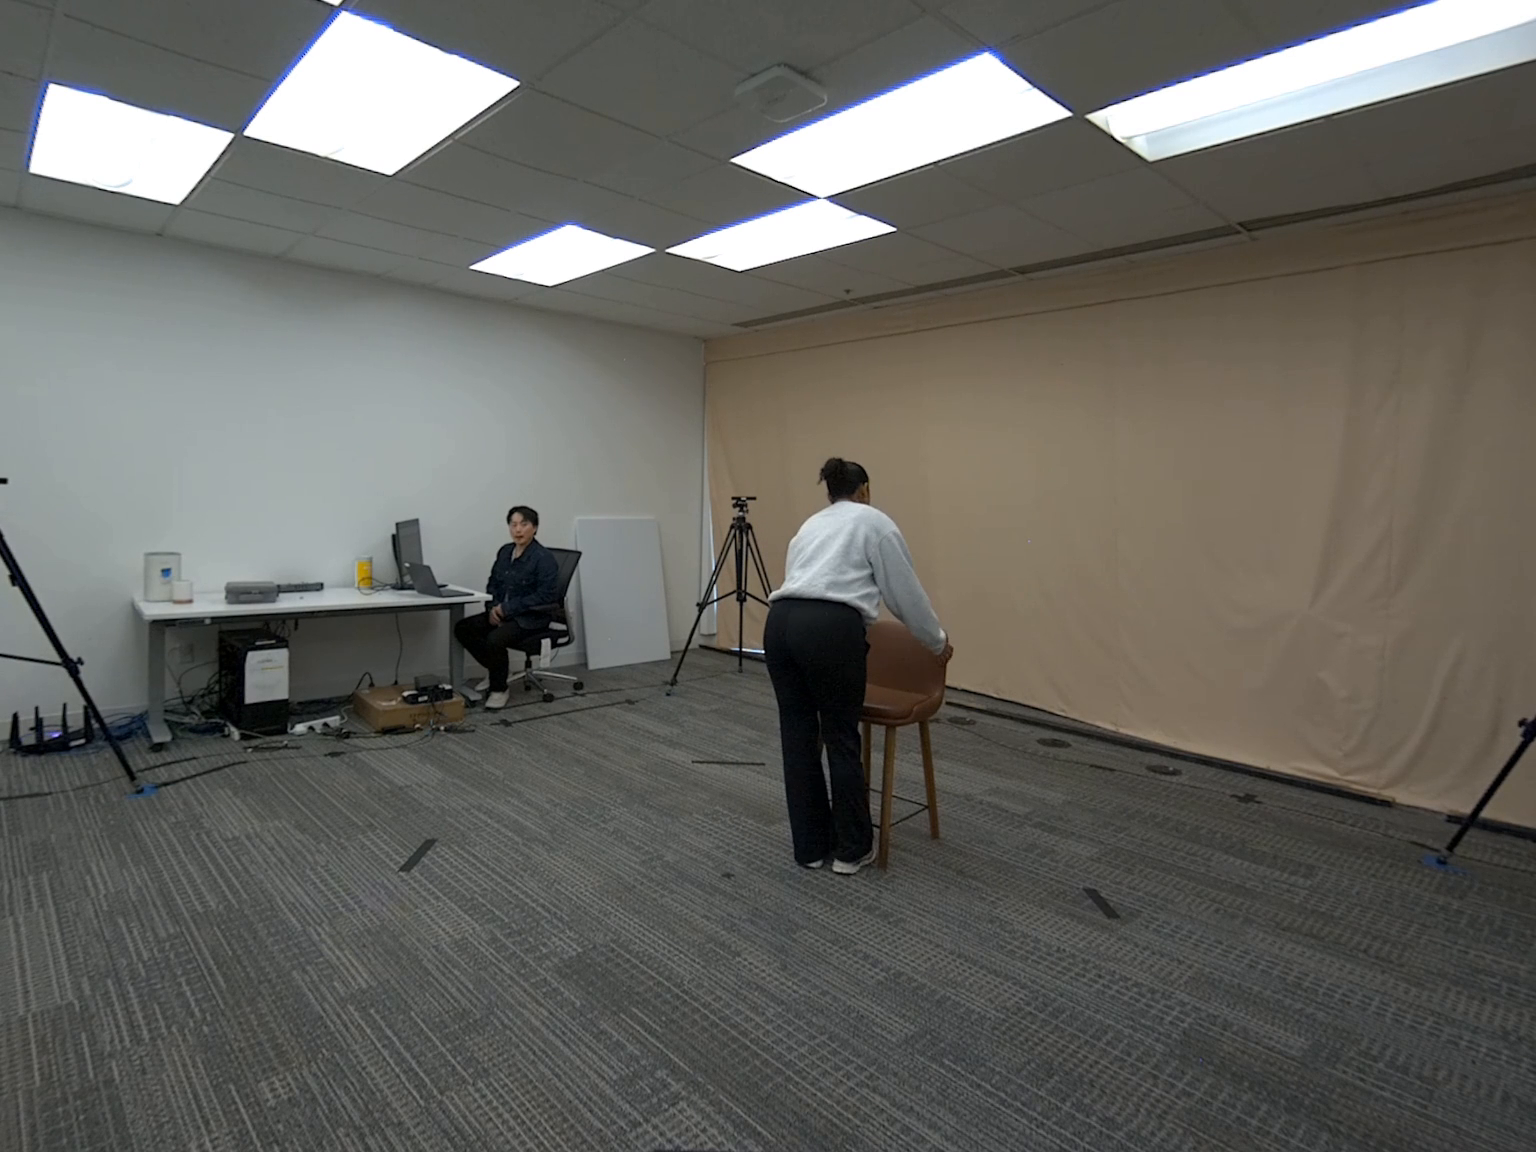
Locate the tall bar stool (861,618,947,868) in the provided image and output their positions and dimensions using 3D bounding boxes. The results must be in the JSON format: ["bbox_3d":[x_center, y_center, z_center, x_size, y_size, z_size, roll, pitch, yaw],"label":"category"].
[{"bbox_3d":[0.436,0.647,3.456,0.468,0.889,0.456,4,2,42],"label":"tall bar stool"}]
